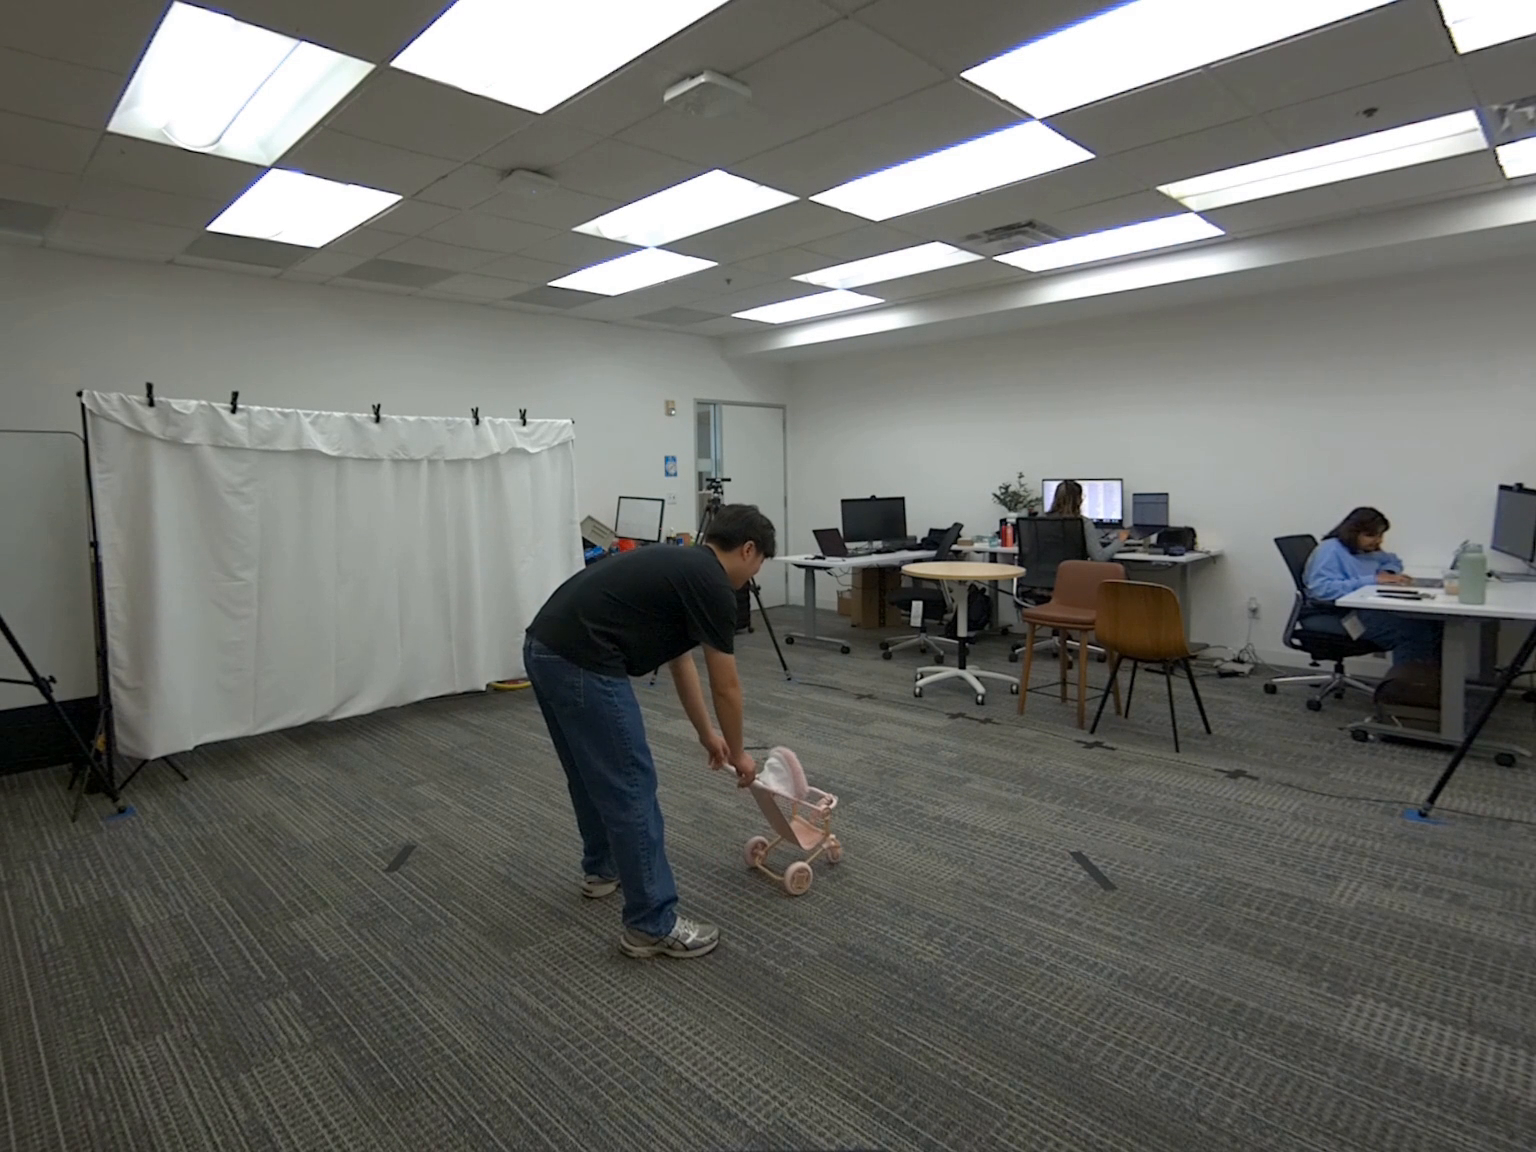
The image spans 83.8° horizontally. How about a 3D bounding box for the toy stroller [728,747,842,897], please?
[{"bbox_3d":[0.083,0.831,2.987,0.337,0.528,0.289,-22,13,-25],"label":"toy stroller"}]
